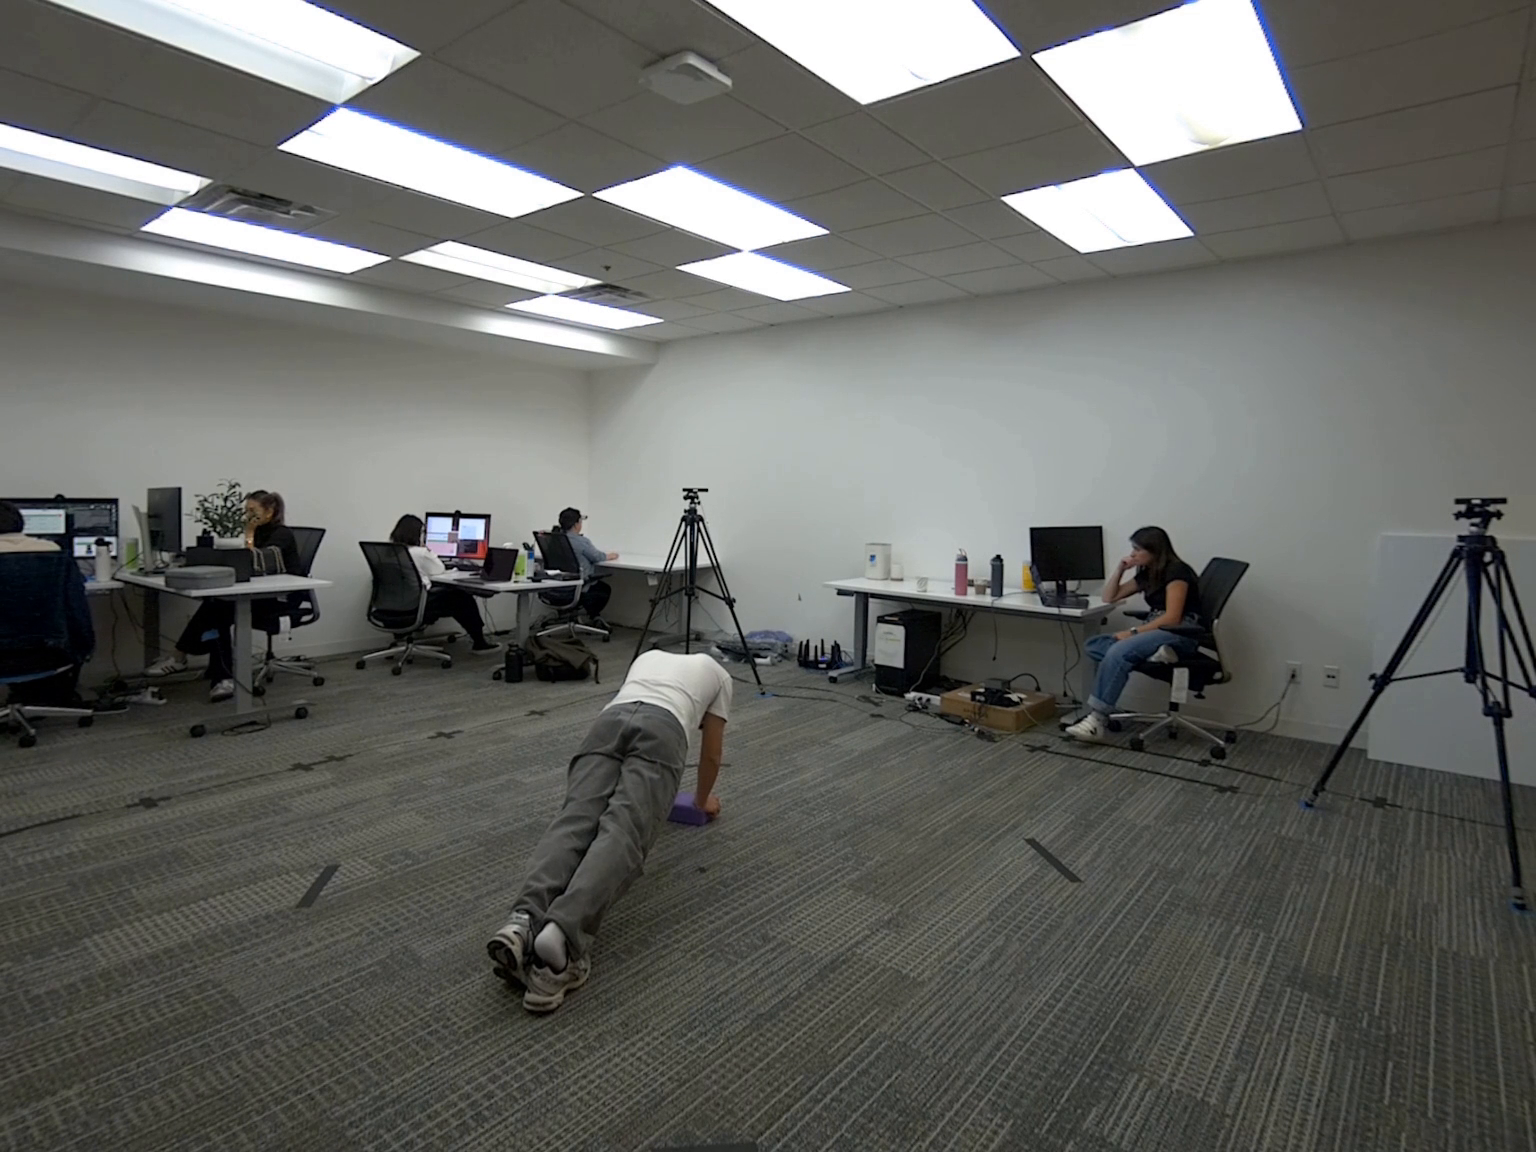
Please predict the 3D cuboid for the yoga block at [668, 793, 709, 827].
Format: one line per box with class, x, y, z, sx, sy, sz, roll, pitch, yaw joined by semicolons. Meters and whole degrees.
yoga block;-0.358;0.979;3.613;0.234;0.076;0.146;2;3;20
